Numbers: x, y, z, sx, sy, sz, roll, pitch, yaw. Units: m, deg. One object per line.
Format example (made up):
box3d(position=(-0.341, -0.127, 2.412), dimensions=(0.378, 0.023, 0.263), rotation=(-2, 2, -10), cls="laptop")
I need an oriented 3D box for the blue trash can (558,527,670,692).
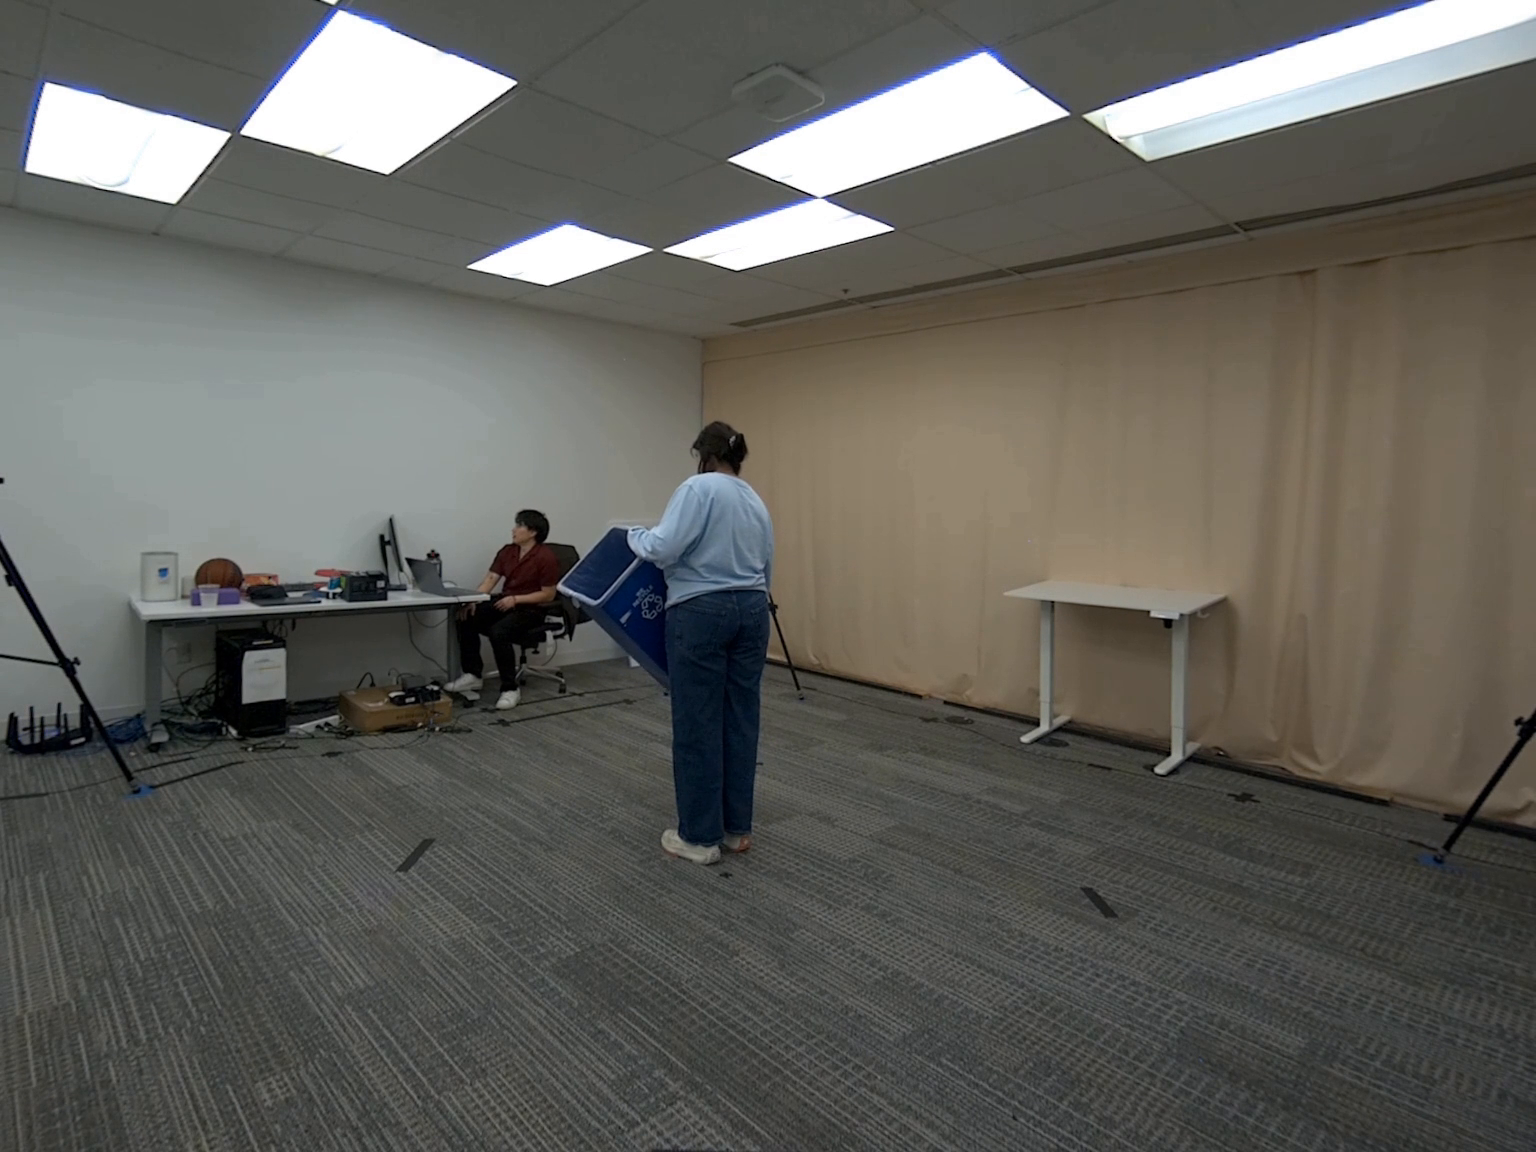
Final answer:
box3d(position=(-0.463, 0.176, 3.488), dimensions=(0.389, 0.374, 0.693), rotation=(15, -31, 51), cls="blue trash can")
